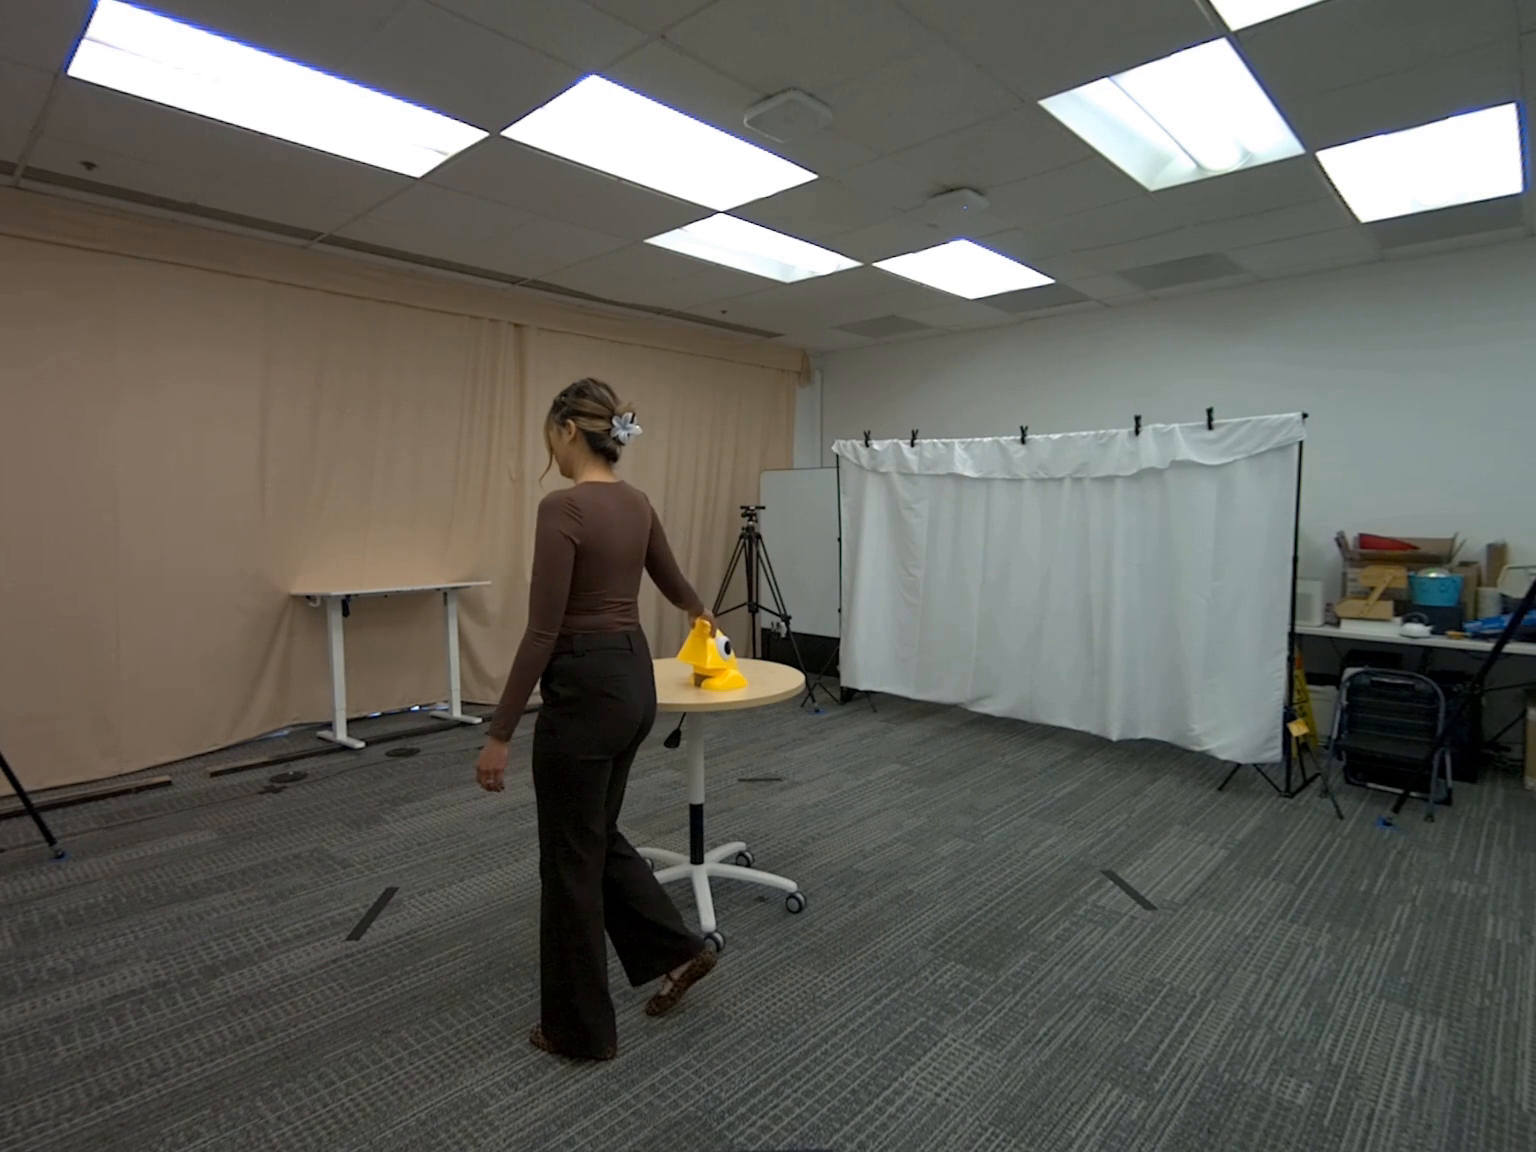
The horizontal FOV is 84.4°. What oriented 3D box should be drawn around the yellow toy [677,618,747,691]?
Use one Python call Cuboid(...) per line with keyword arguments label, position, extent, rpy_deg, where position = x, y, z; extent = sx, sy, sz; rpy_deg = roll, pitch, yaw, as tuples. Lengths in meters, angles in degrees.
Cuboid(label="yellow toy", position=(-0.177, 0.248, 2.812), extent=(0.187, 0.230, 0.211), rpy_deg=(-3, 4, -34))
